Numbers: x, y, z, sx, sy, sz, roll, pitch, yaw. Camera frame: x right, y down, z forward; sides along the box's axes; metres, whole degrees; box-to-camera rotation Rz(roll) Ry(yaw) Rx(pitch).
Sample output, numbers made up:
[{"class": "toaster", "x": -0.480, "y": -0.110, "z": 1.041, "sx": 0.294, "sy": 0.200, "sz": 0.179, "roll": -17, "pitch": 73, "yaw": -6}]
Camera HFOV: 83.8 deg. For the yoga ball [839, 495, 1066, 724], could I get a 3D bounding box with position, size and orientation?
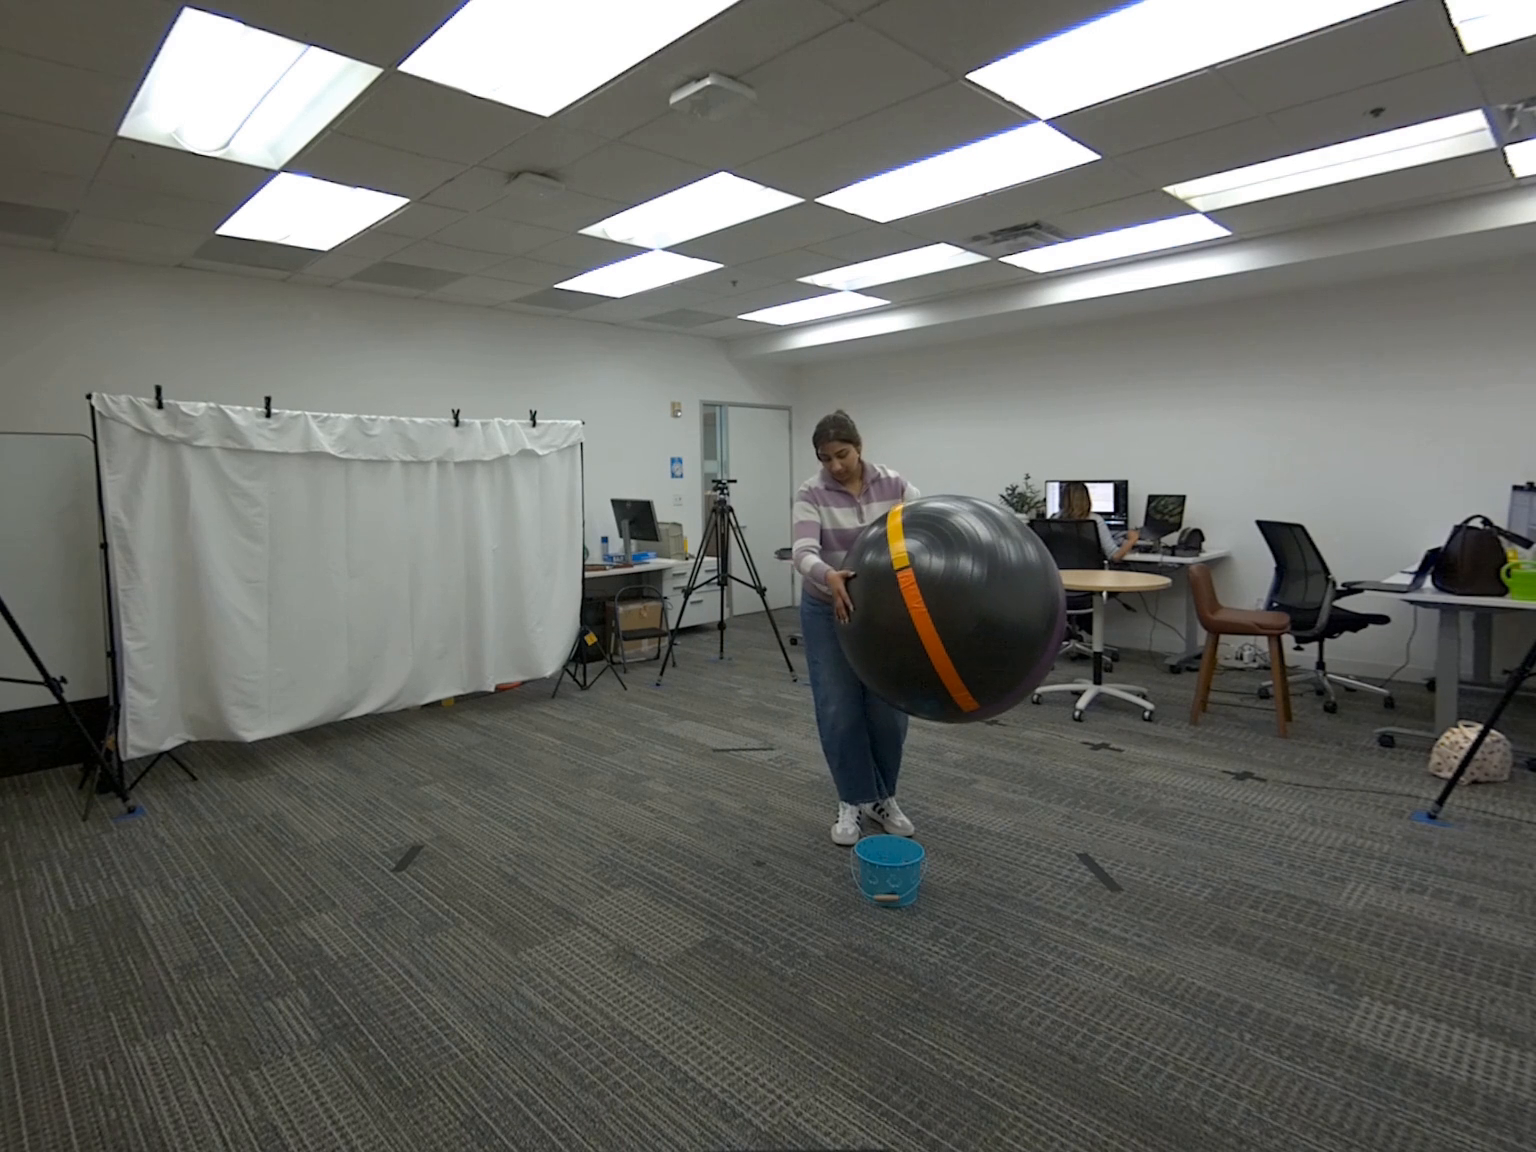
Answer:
[{"class": "yoga ball", "x": 0.613, "y": 0.116, "z": 2.873, "sx": 0.757, "sy": 0.755, "sz": 0.762, "roll": -1, "pitch": 5, "yaw": -2}]
